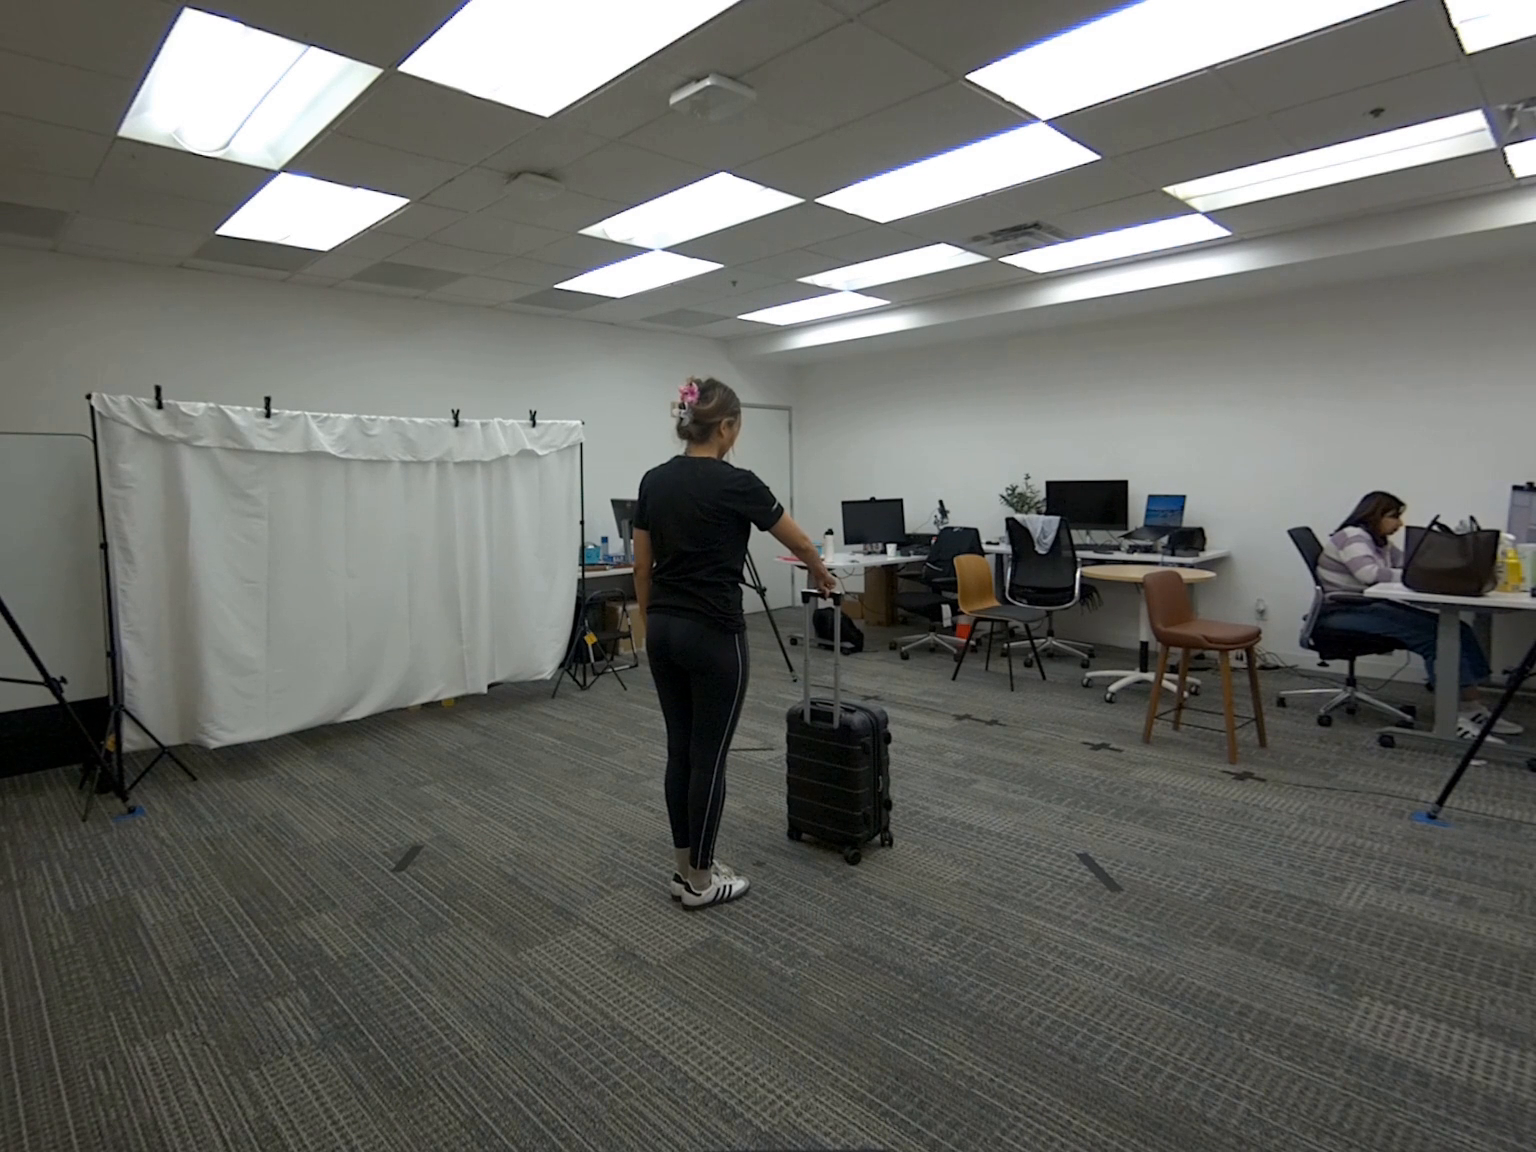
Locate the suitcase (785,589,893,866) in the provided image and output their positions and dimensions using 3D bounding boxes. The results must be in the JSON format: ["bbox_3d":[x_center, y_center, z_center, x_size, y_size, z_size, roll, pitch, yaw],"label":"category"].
[{"bbox_3d":[0.269,0.550,3.261,0.395,0.976,0.250,2,3,40],"label":"suitcase"}]
